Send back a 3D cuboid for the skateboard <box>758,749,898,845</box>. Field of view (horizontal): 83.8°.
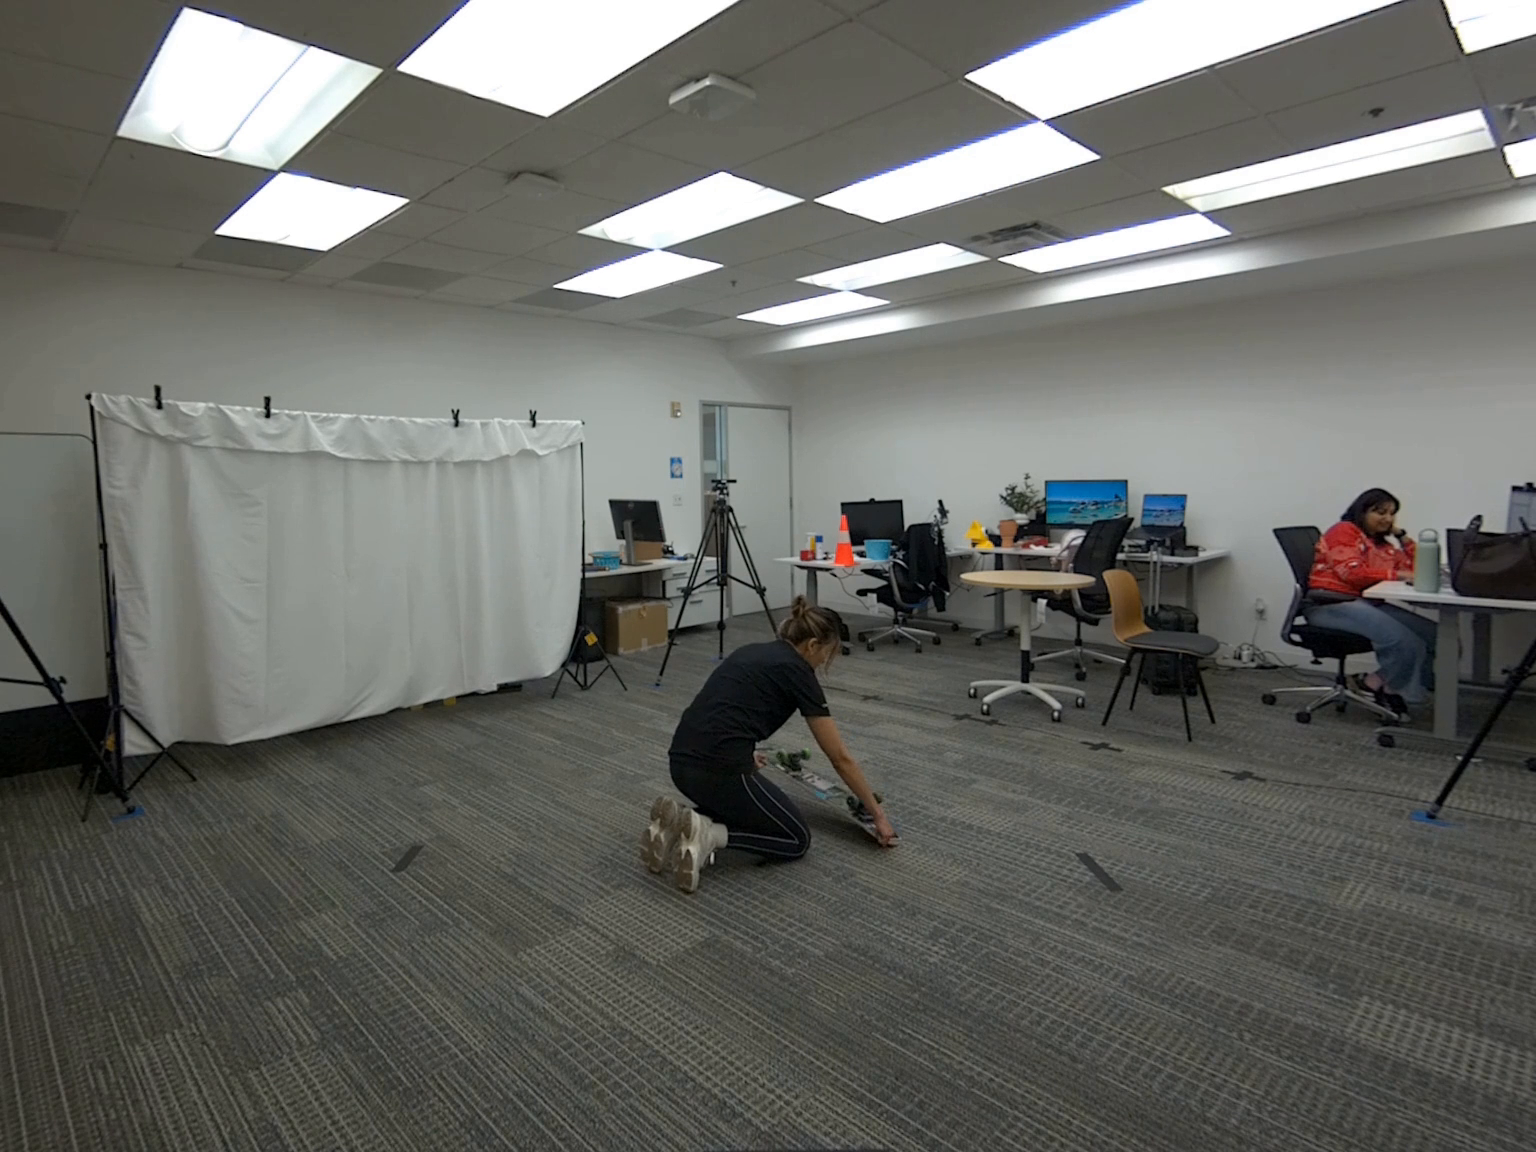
[{"bbox_3d":[0.239,0.852,3.513,0.187,0.110,0.815,9,10,-44],"label":"skateboard"}]
